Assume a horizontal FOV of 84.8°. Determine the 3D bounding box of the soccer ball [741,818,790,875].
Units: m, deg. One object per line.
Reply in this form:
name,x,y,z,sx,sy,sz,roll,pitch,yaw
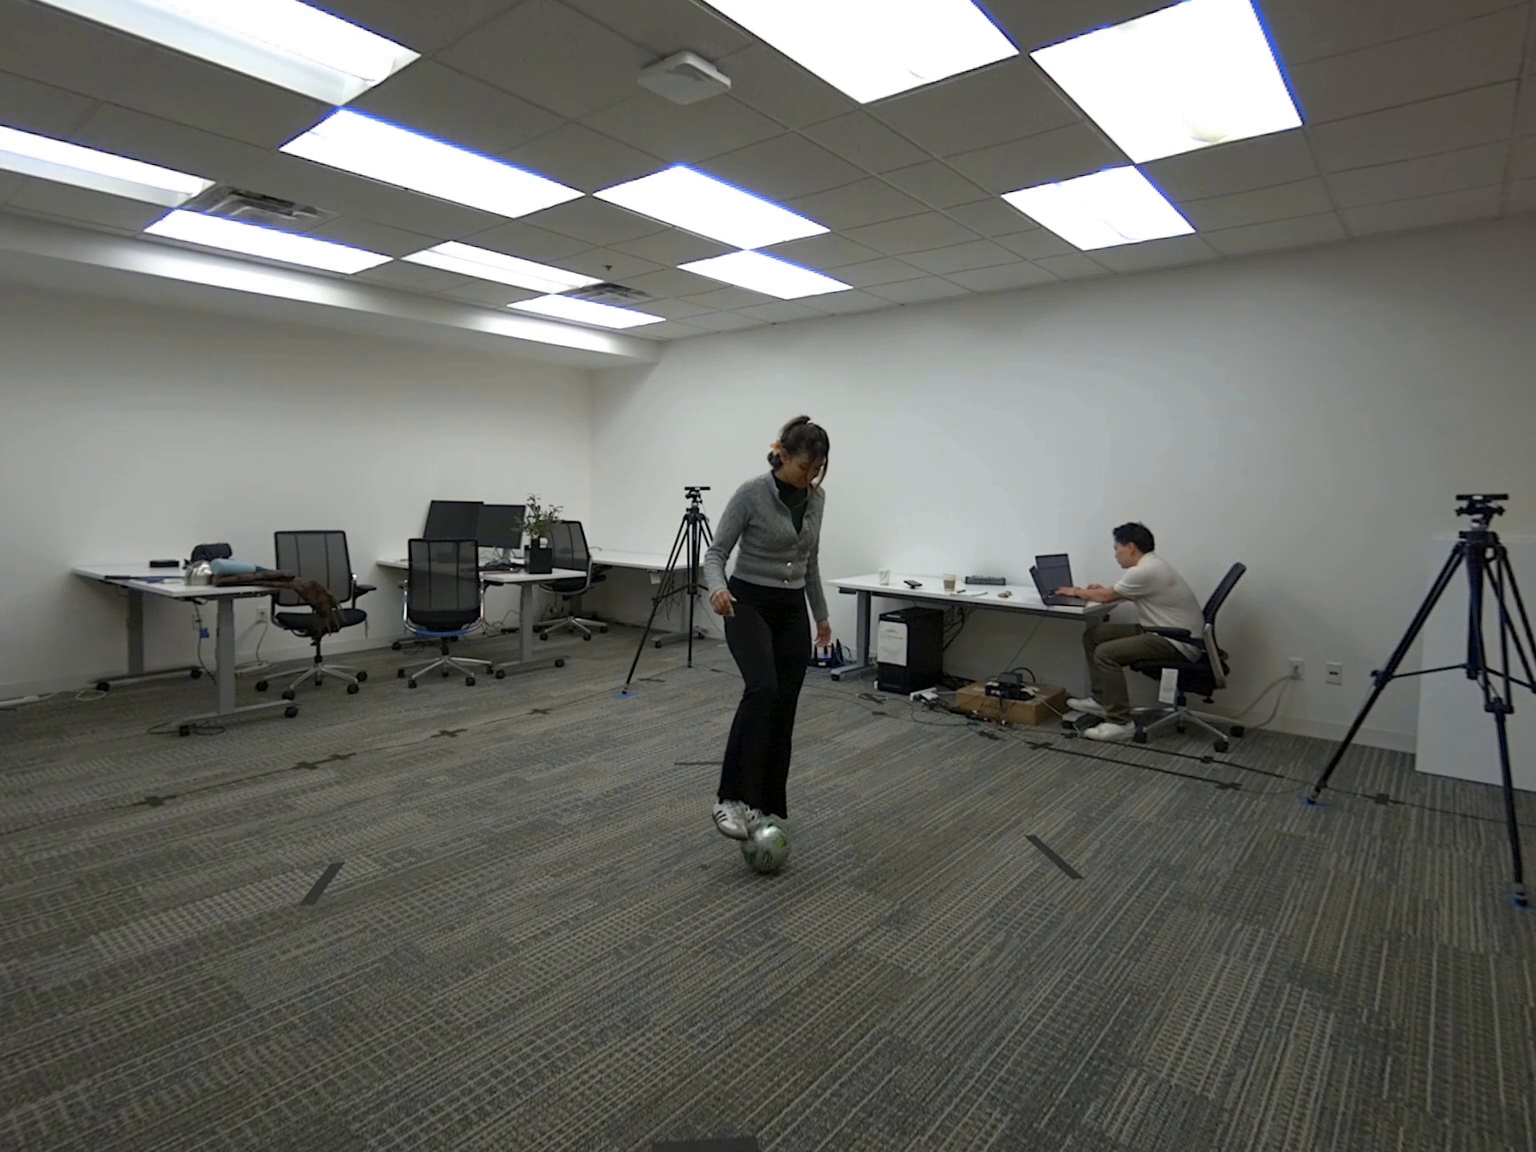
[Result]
soccer ball,-0.002,0.978,3.106,0.187,0.187,0.188,1,4,-2
